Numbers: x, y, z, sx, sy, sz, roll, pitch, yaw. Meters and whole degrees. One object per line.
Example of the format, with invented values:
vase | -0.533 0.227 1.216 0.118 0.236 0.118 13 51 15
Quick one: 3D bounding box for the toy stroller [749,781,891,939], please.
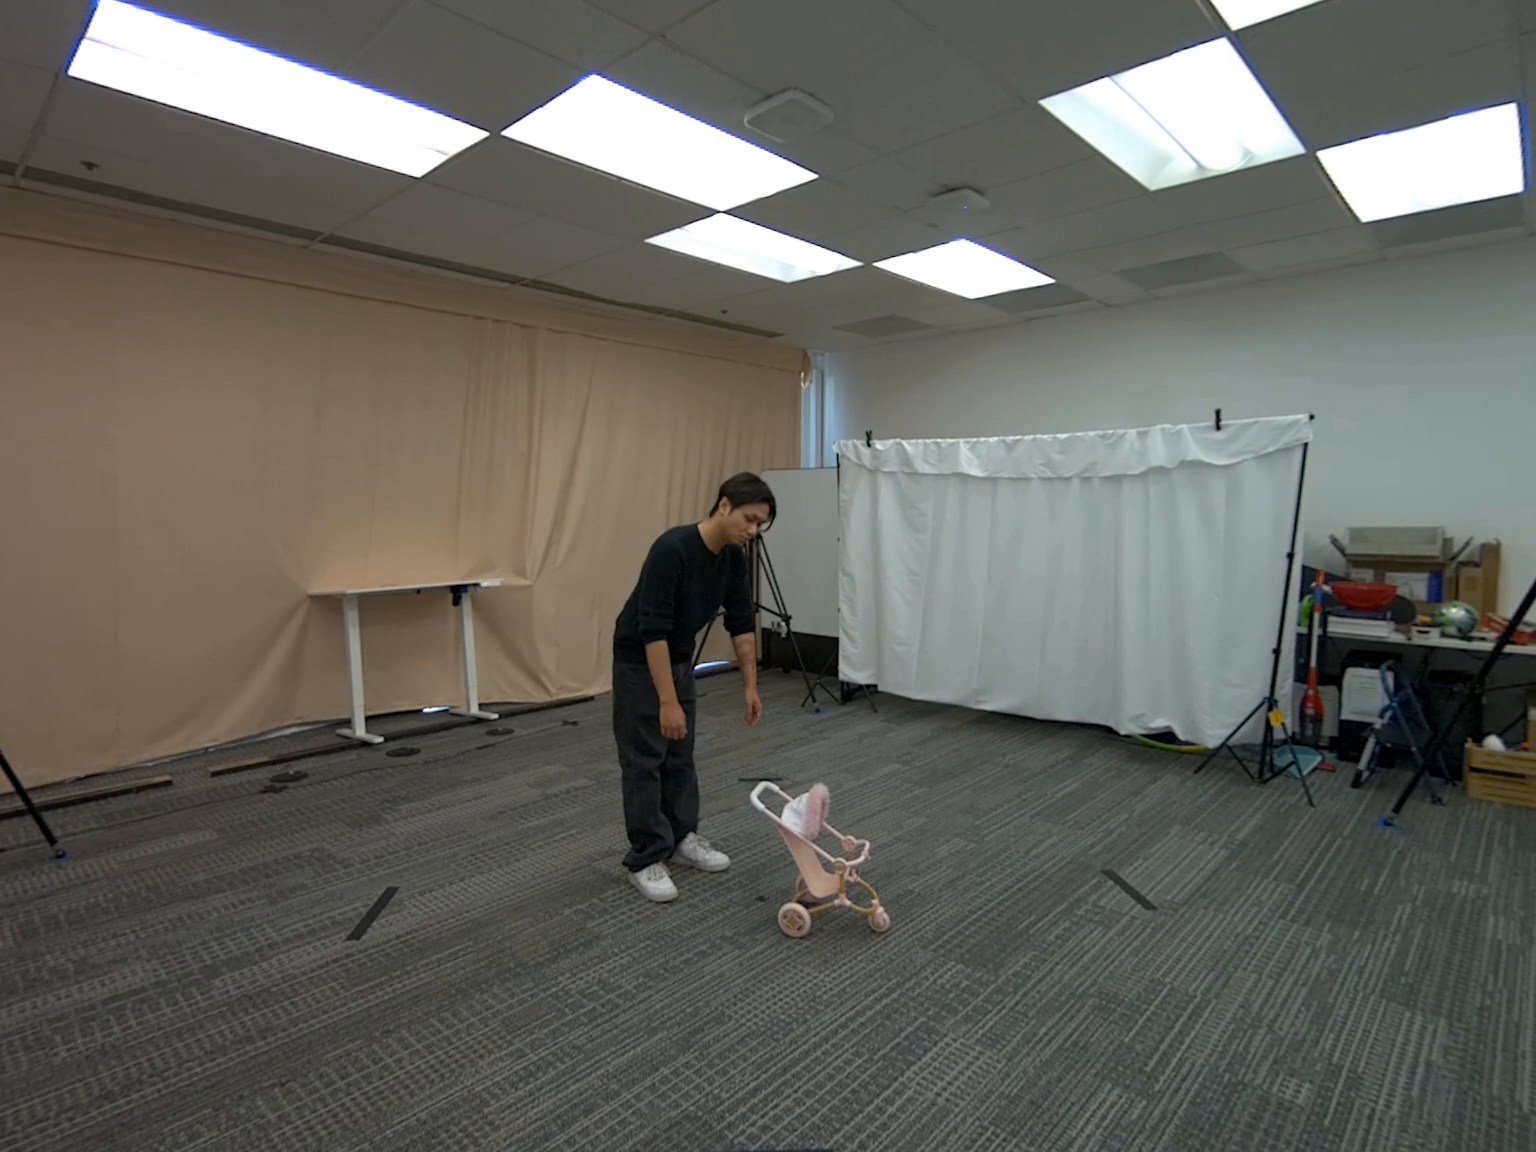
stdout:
toy stroller | 0.184 0.936 2.801 0.347 0.536 0.276 -16 -2 22
